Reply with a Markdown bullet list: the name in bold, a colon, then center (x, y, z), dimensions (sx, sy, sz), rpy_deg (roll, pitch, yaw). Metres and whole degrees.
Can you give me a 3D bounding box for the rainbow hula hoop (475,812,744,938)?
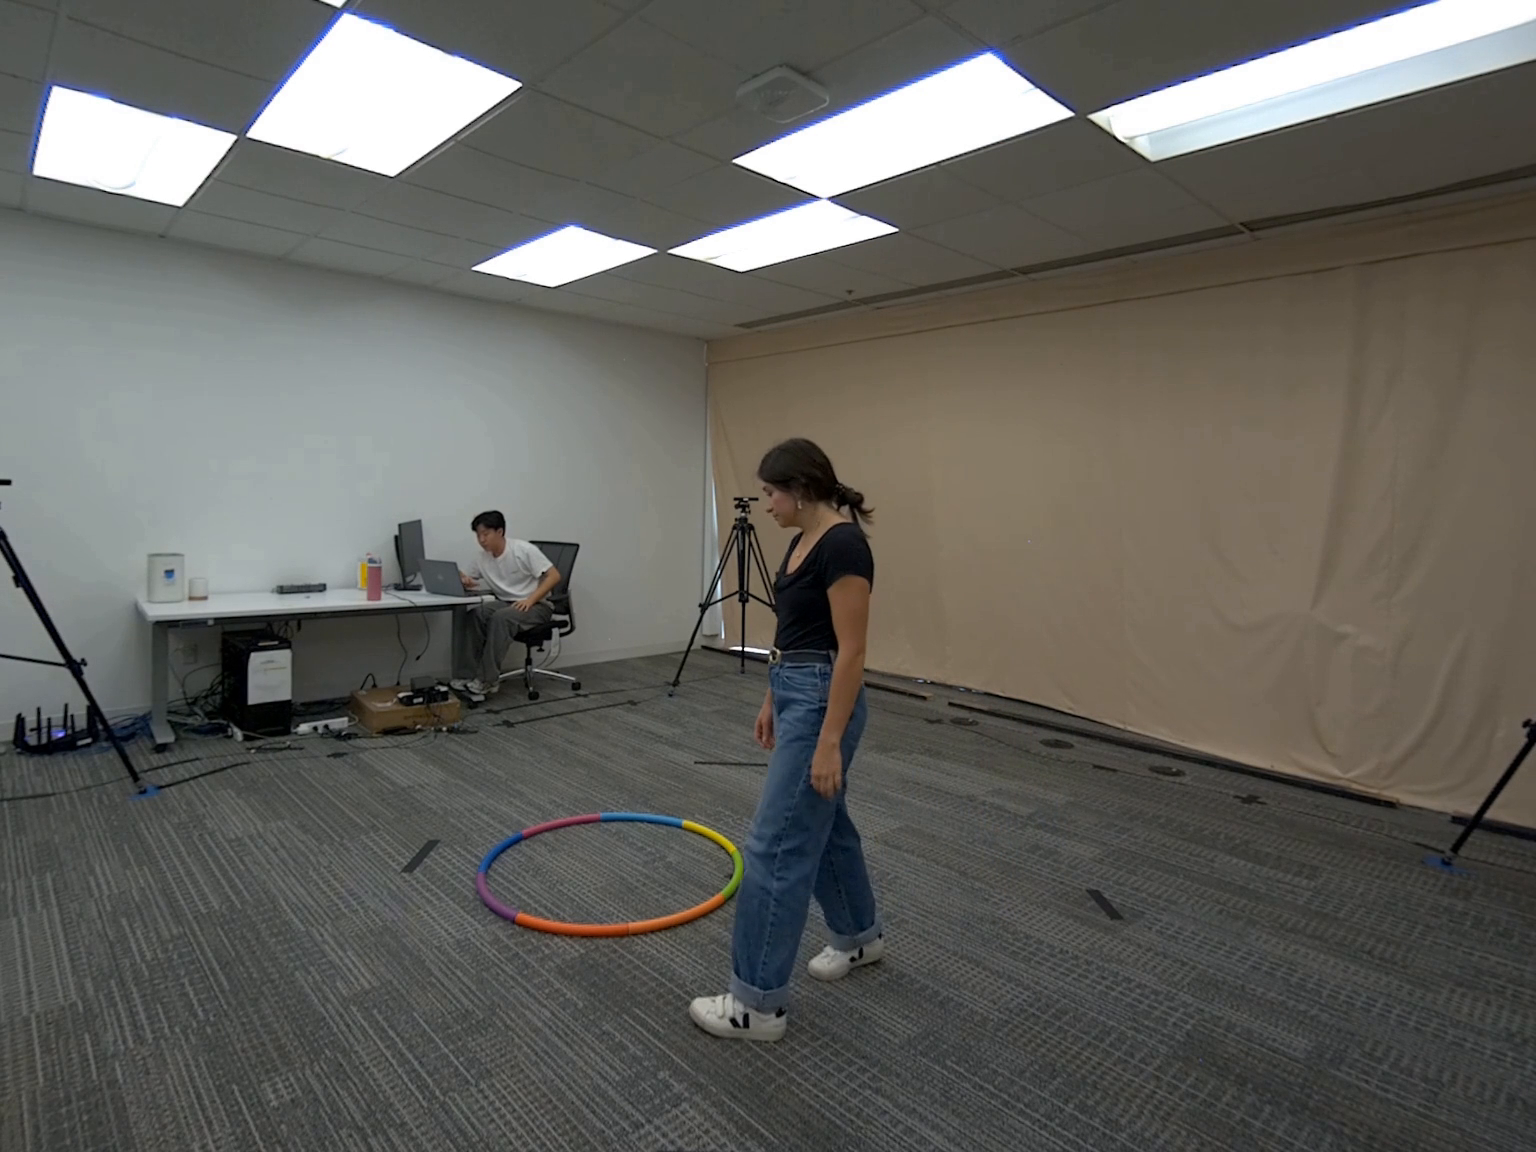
- **rainbow hula hoop**: center (-0.580, 1.067, 3.131), dimensions (0.978, 0.035, 0.982), rpy_deg (1, 5, -1)
